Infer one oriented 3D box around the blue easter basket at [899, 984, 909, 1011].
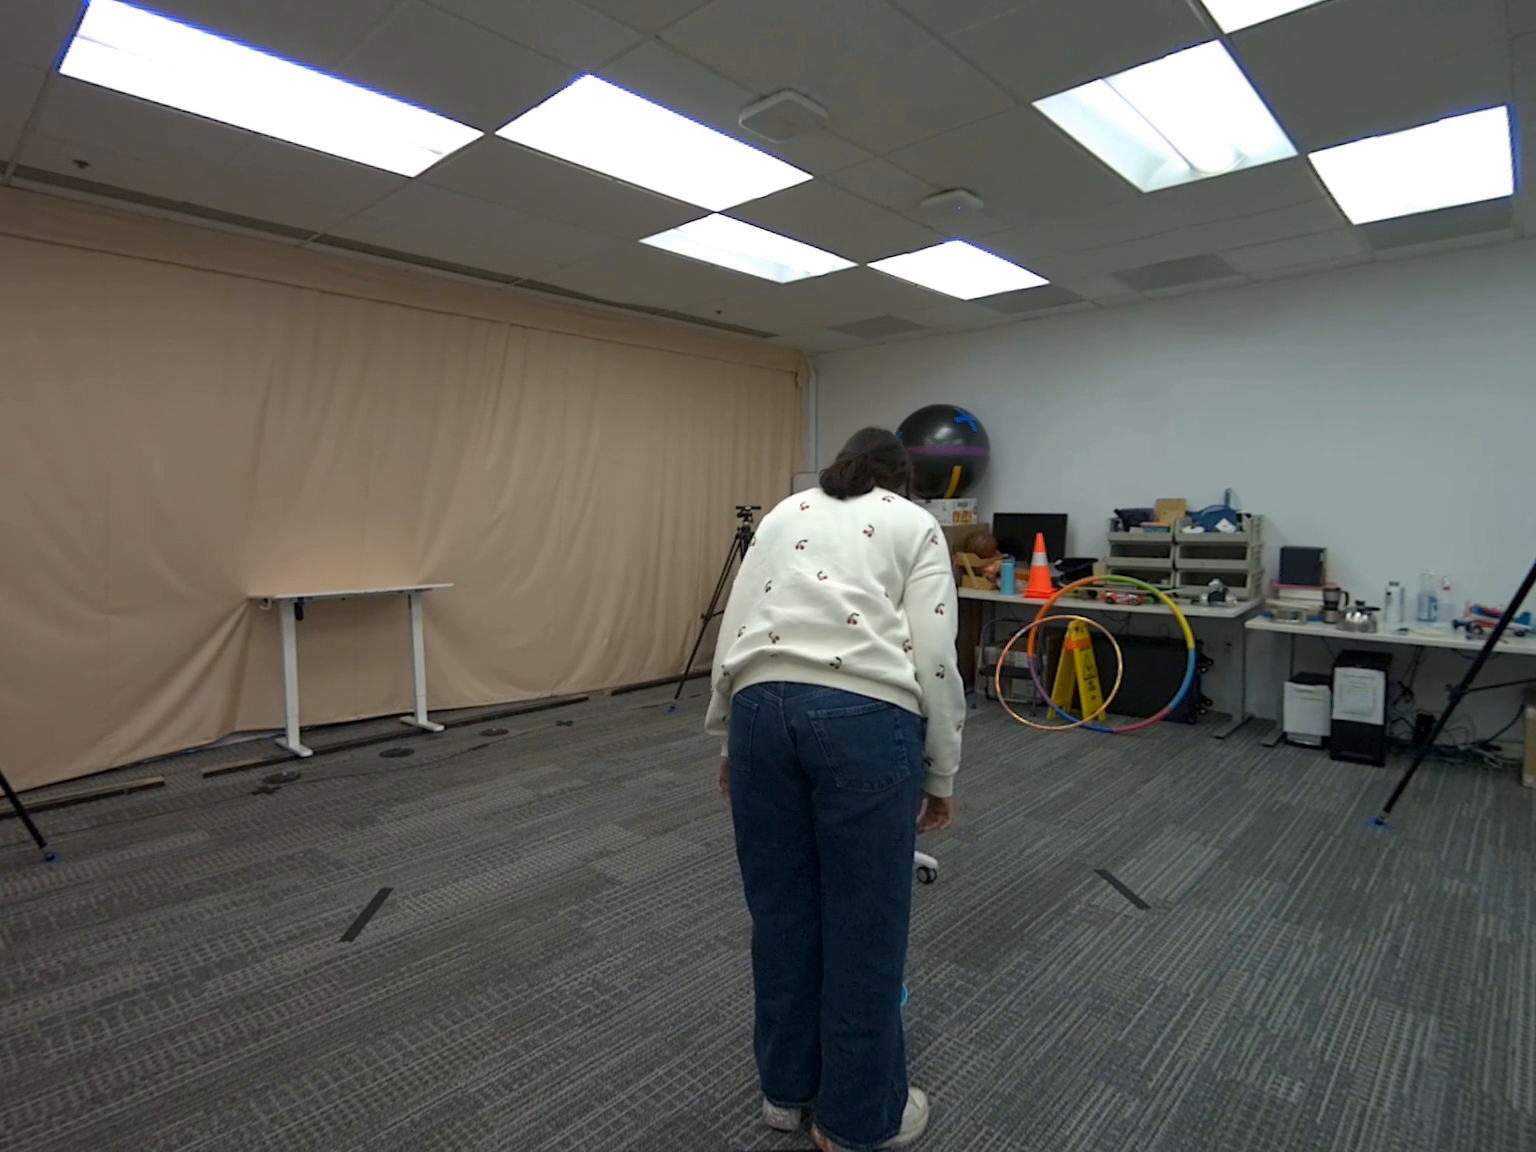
[{"bbox_3d":[0.252,1.137,2.157,0.243,0.155,0.244,0,5,-2],"label":"blue easter basket"}]
